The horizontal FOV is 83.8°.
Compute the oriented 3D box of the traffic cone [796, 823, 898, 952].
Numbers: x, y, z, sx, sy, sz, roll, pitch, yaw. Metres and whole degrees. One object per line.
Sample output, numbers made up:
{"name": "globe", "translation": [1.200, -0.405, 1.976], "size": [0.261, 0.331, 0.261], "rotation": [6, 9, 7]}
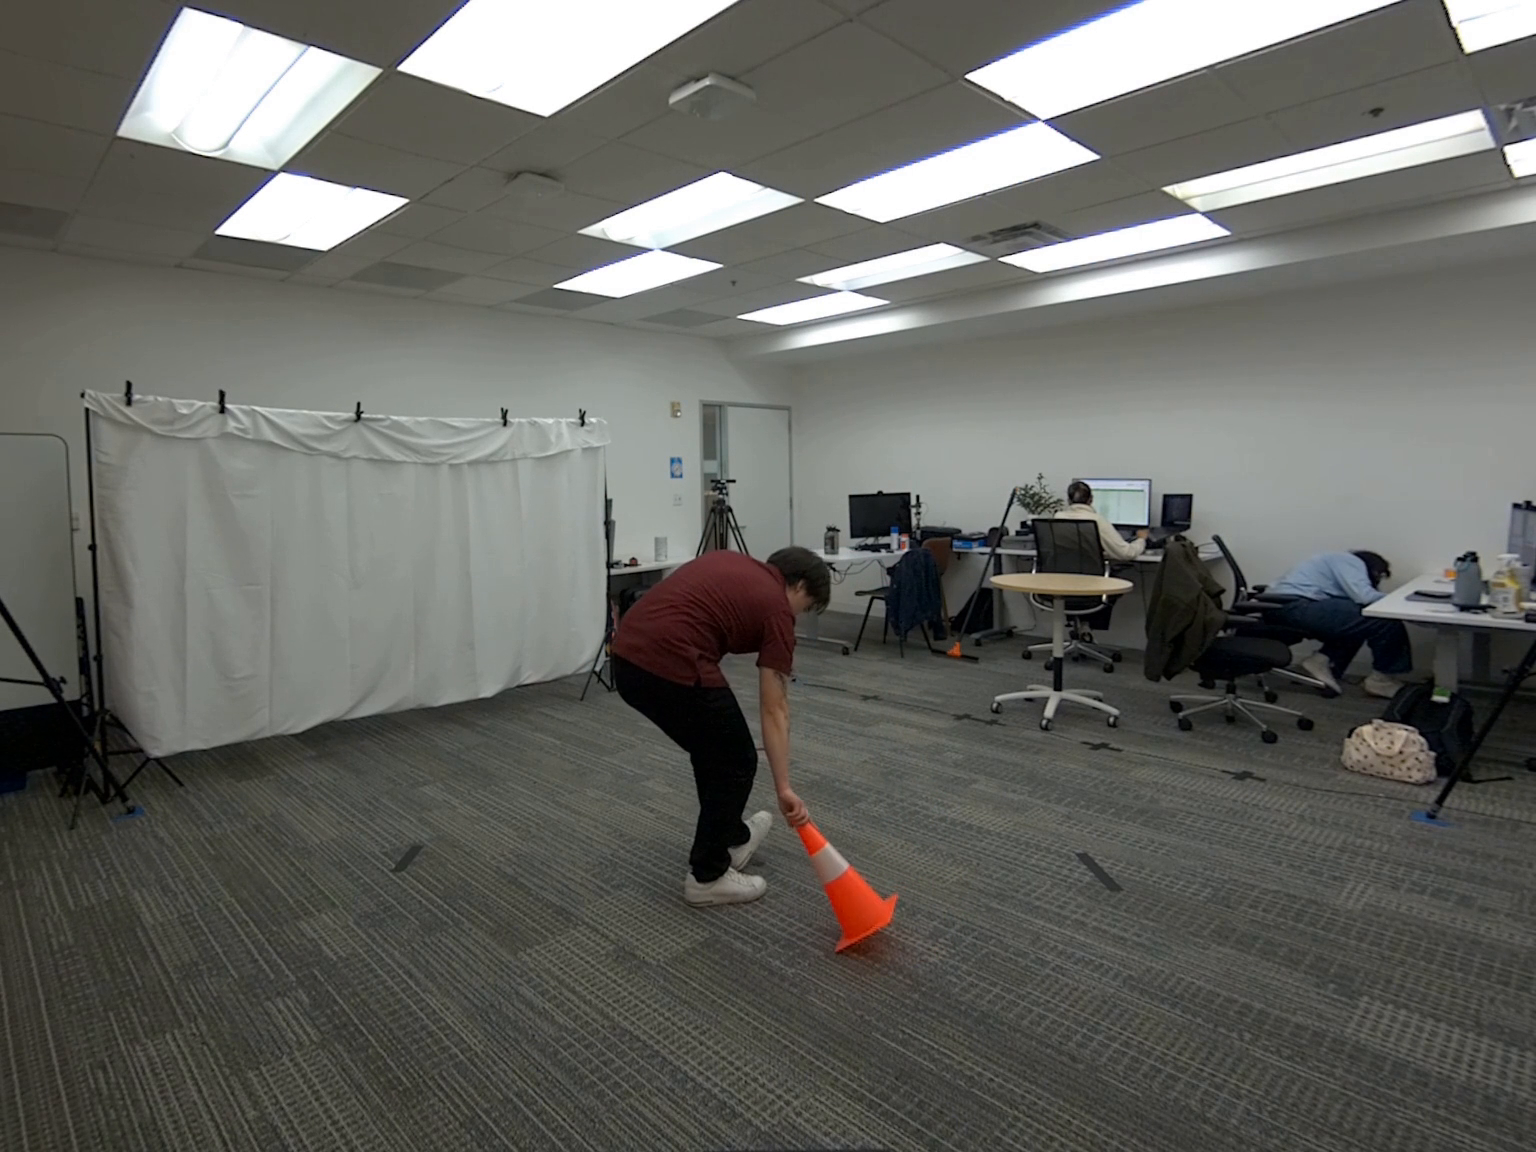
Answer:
{"name": "traffic cone", "translation": [0.200, 0.893, 2.598], "size": [0.204, 0.388, 0.202], "rotation": [-37, -7, 14]}
